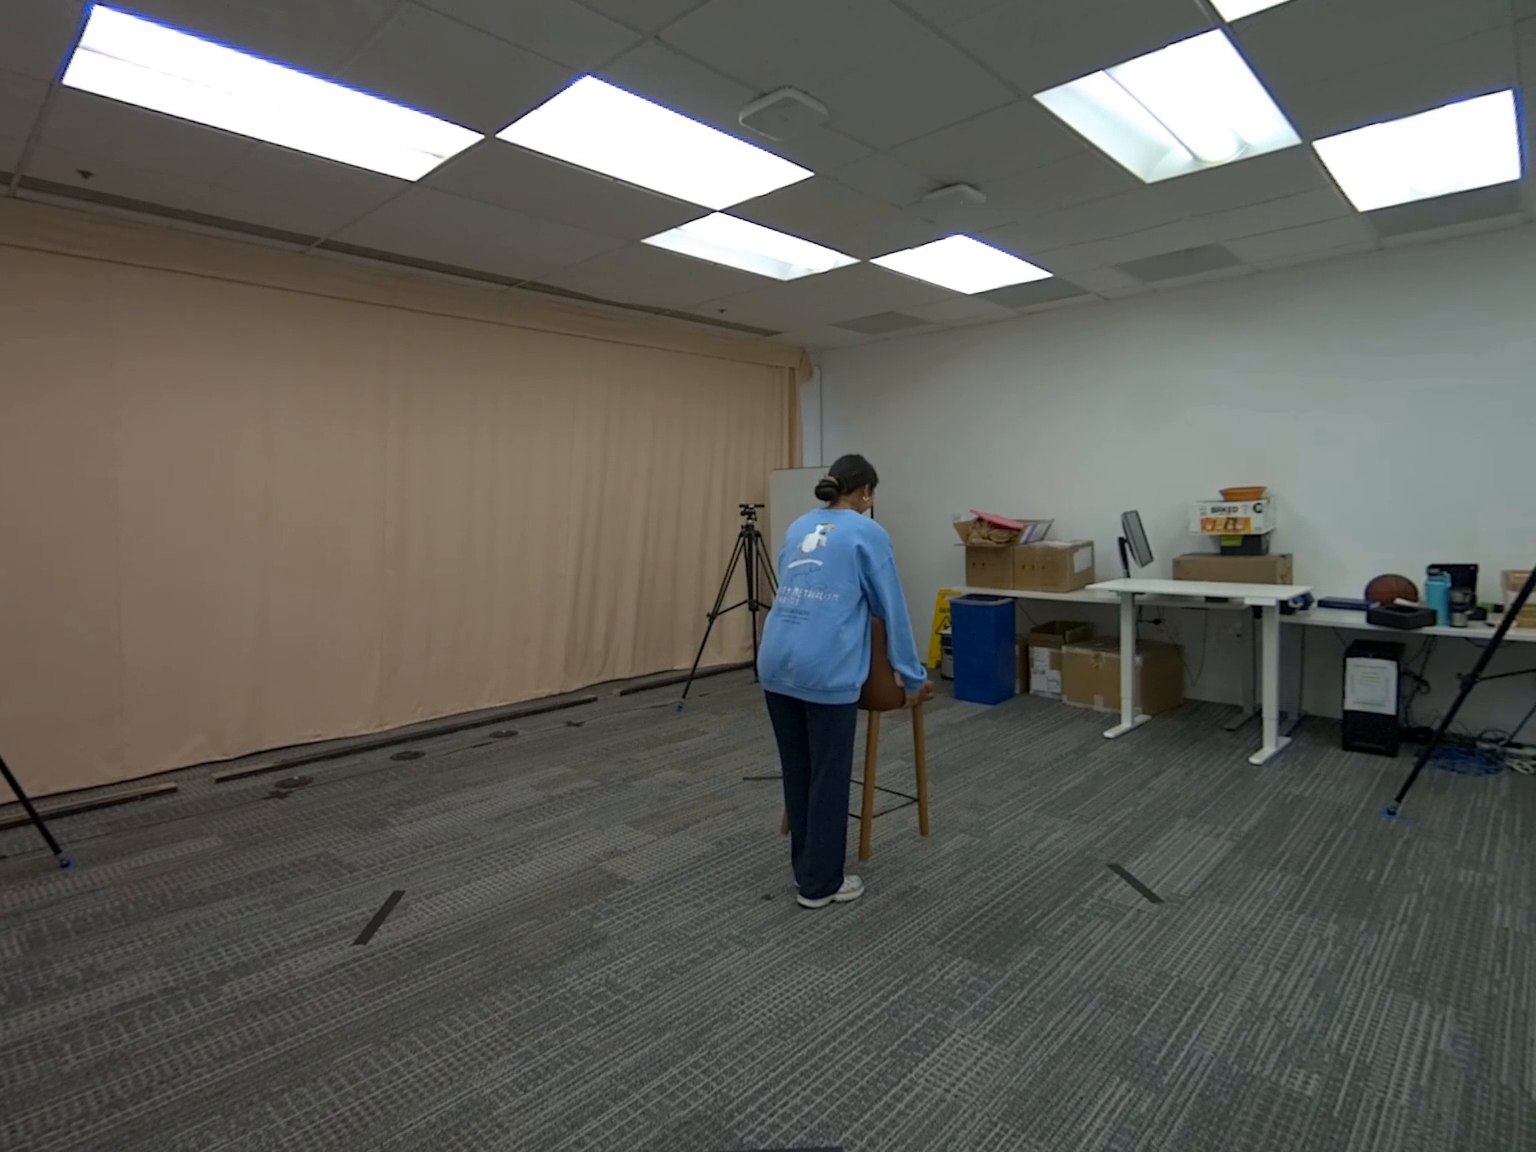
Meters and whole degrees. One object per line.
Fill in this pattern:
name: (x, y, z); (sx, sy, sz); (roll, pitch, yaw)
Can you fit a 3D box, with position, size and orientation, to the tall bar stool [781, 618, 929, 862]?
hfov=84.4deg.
tall bar stool: (0.353, 0.566, 3.229); (0.472, 0.888, 0.453); (4, 4, 40)
